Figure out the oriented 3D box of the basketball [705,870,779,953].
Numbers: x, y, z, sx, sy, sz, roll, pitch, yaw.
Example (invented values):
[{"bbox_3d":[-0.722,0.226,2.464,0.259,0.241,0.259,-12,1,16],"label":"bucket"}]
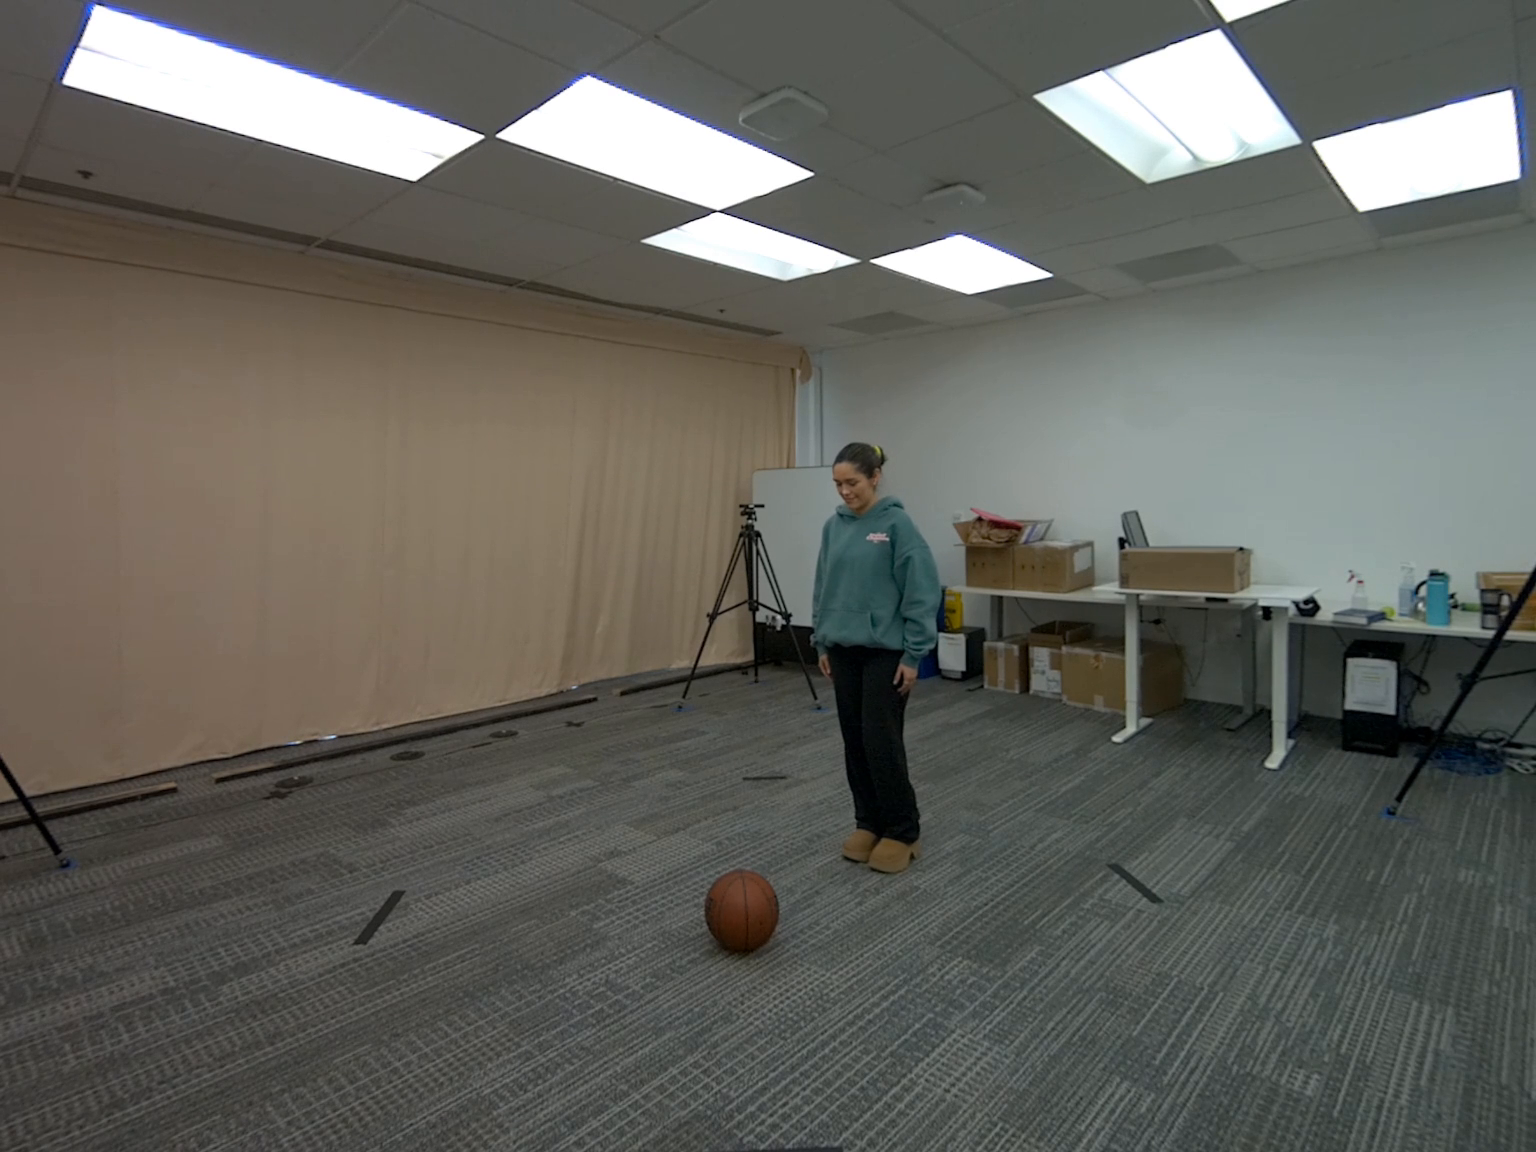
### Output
[{"bbox_3d":[-0.080,1.050,2.651,0.236,0.235,0.237,-1,4,-2],"label":"basketball"}]
